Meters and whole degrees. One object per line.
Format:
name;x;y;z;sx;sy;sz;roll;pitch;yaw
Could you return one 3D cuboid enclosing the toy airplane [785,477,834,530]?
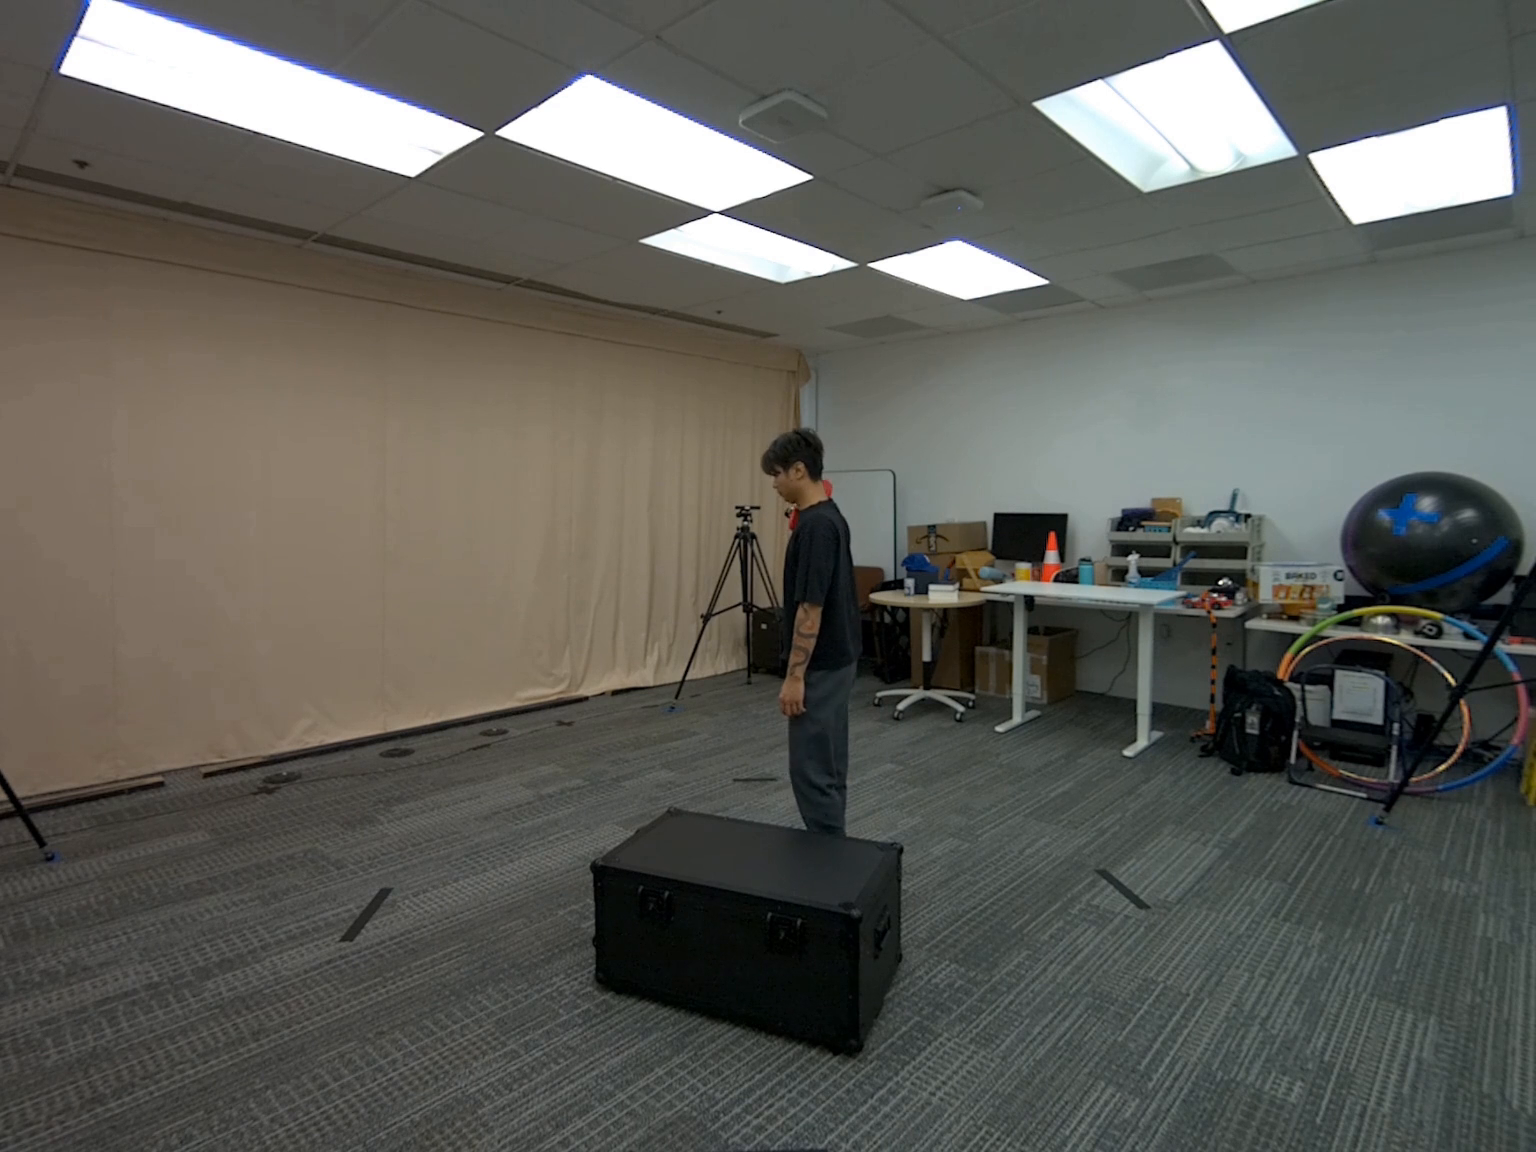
toy airplane;0.217;-0.287;3.575;0.254;0.253;0.158;3;-15;-19
